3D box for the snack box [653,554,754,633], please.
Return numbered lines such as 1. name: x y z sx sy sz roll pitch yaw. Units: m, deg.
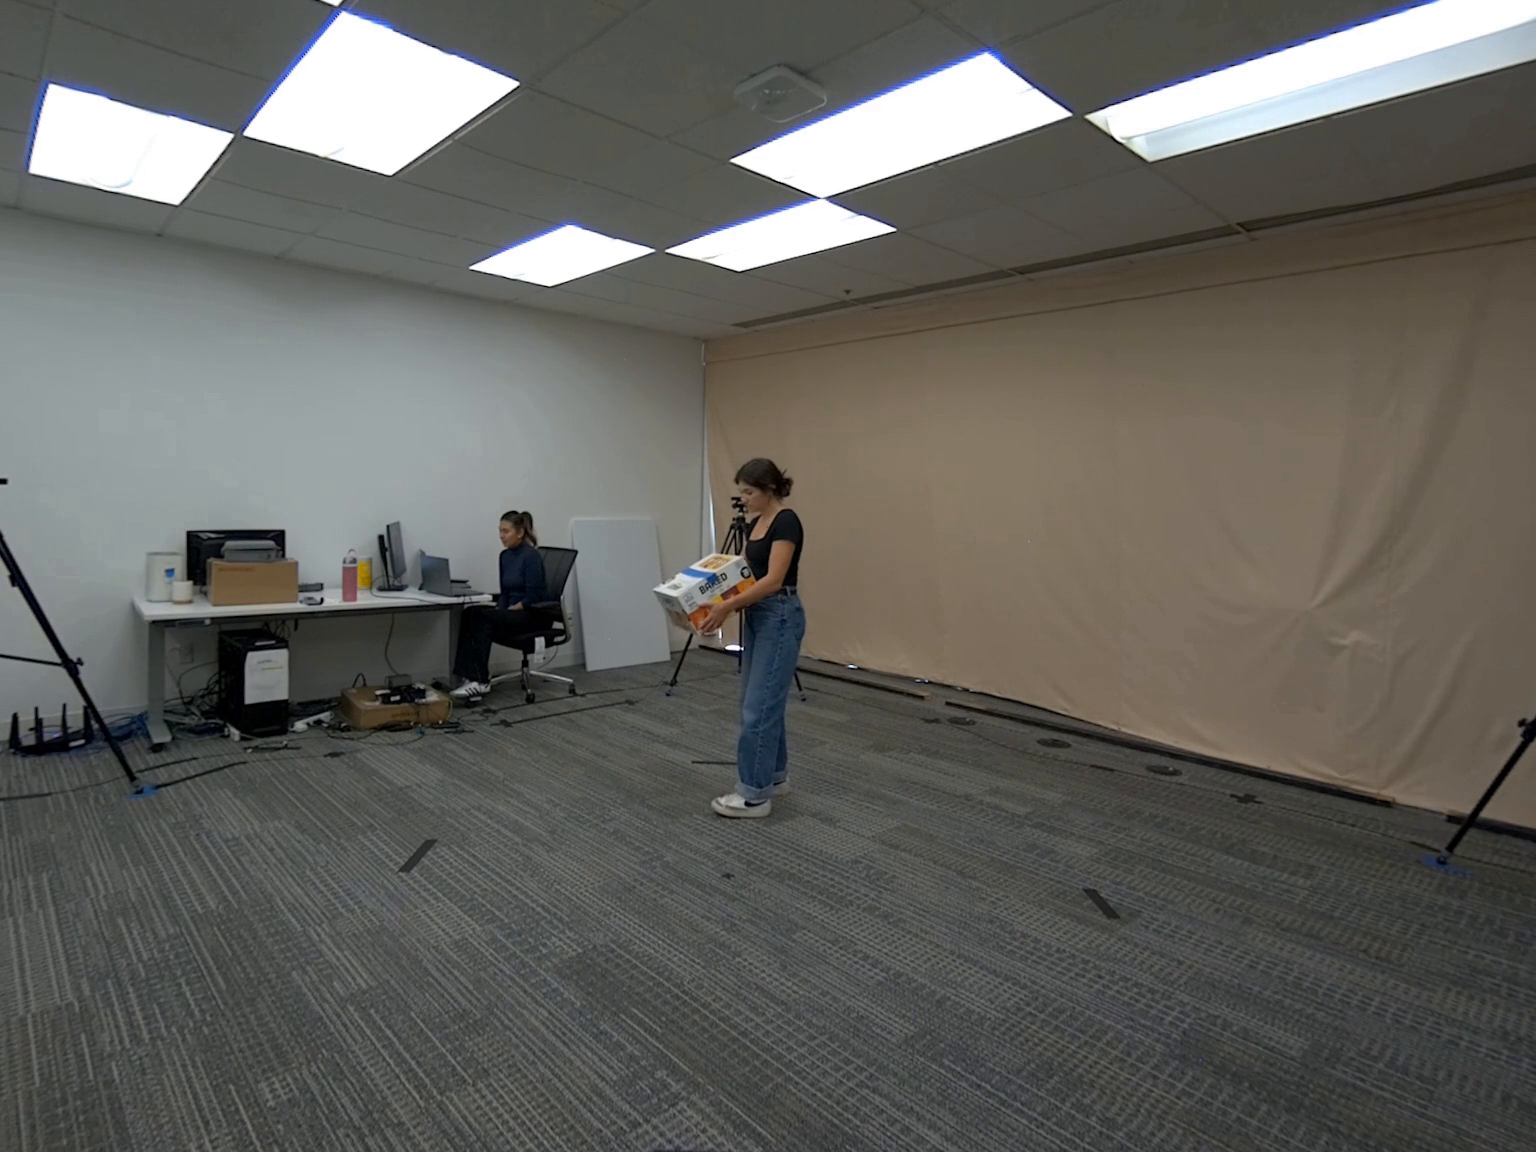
1. snack box: -0.283 0.078 3.784 0.338 0.203 0.412 -31 13 -18
